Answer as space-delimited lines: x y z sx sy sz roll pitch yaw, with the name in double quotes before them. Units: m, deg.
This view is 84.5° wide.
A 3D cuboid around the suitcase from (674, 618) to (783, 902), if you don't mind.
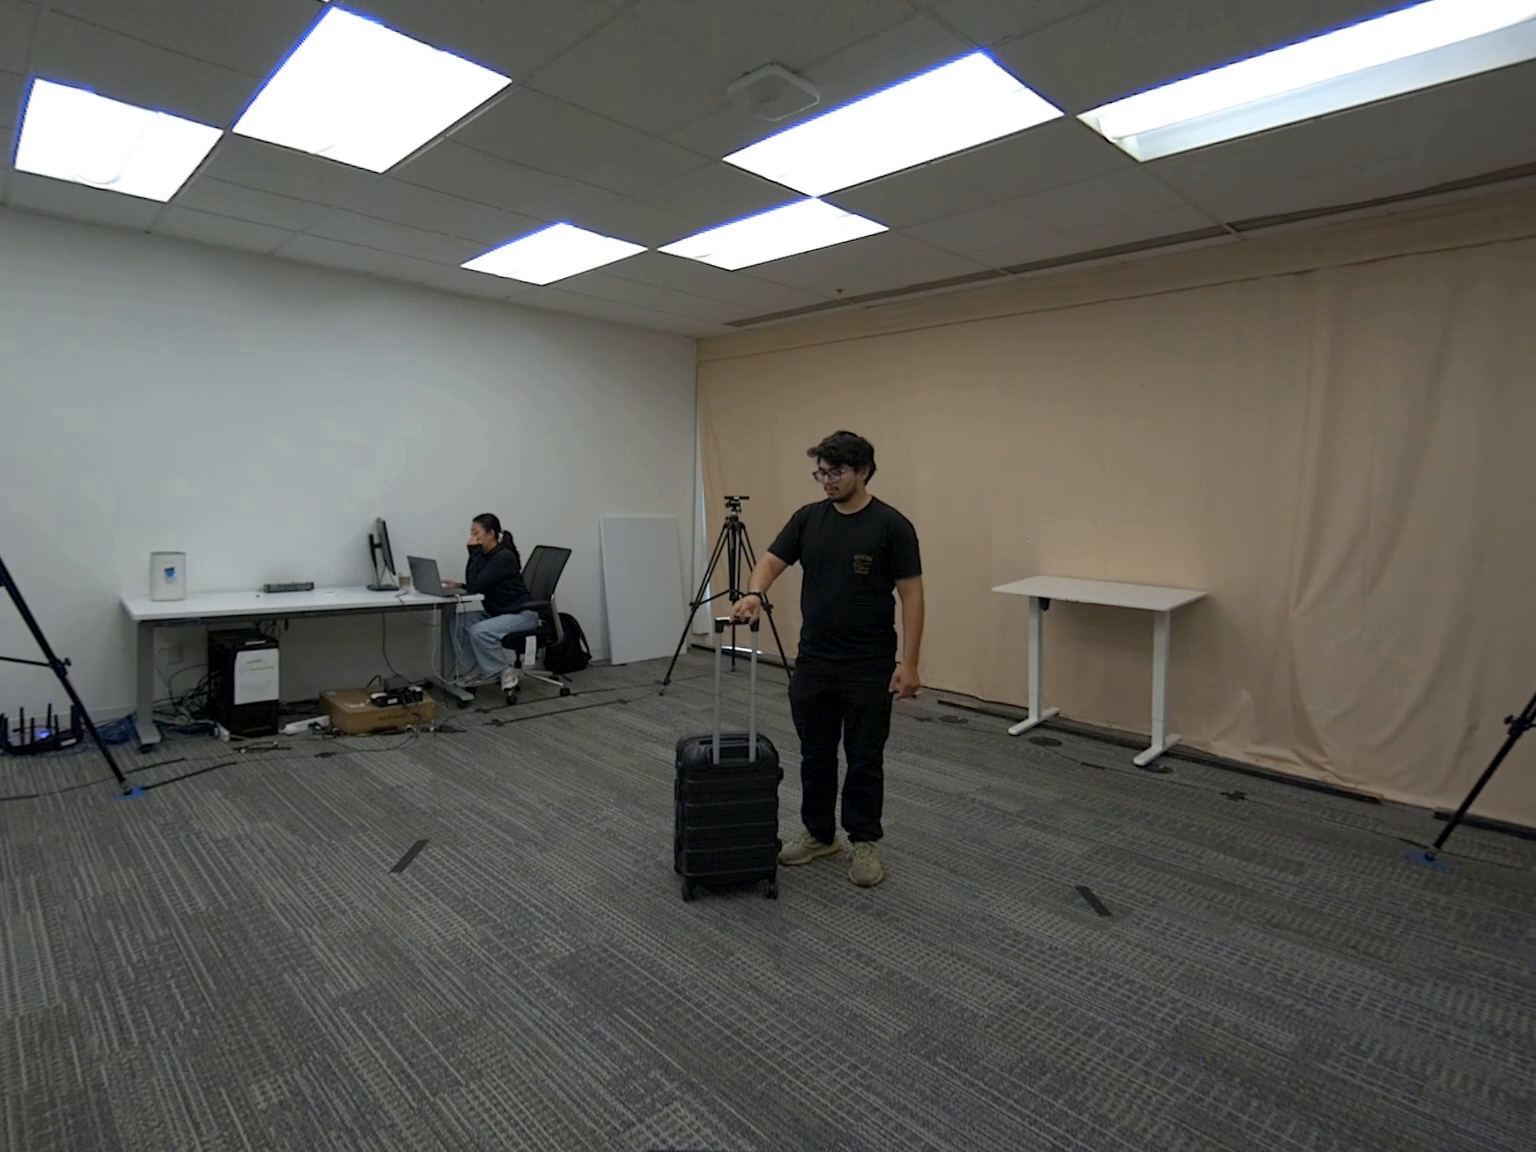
"suitcase" -0.155 0.639 2.993 0.380 0.977 0.260 1 3 -12
